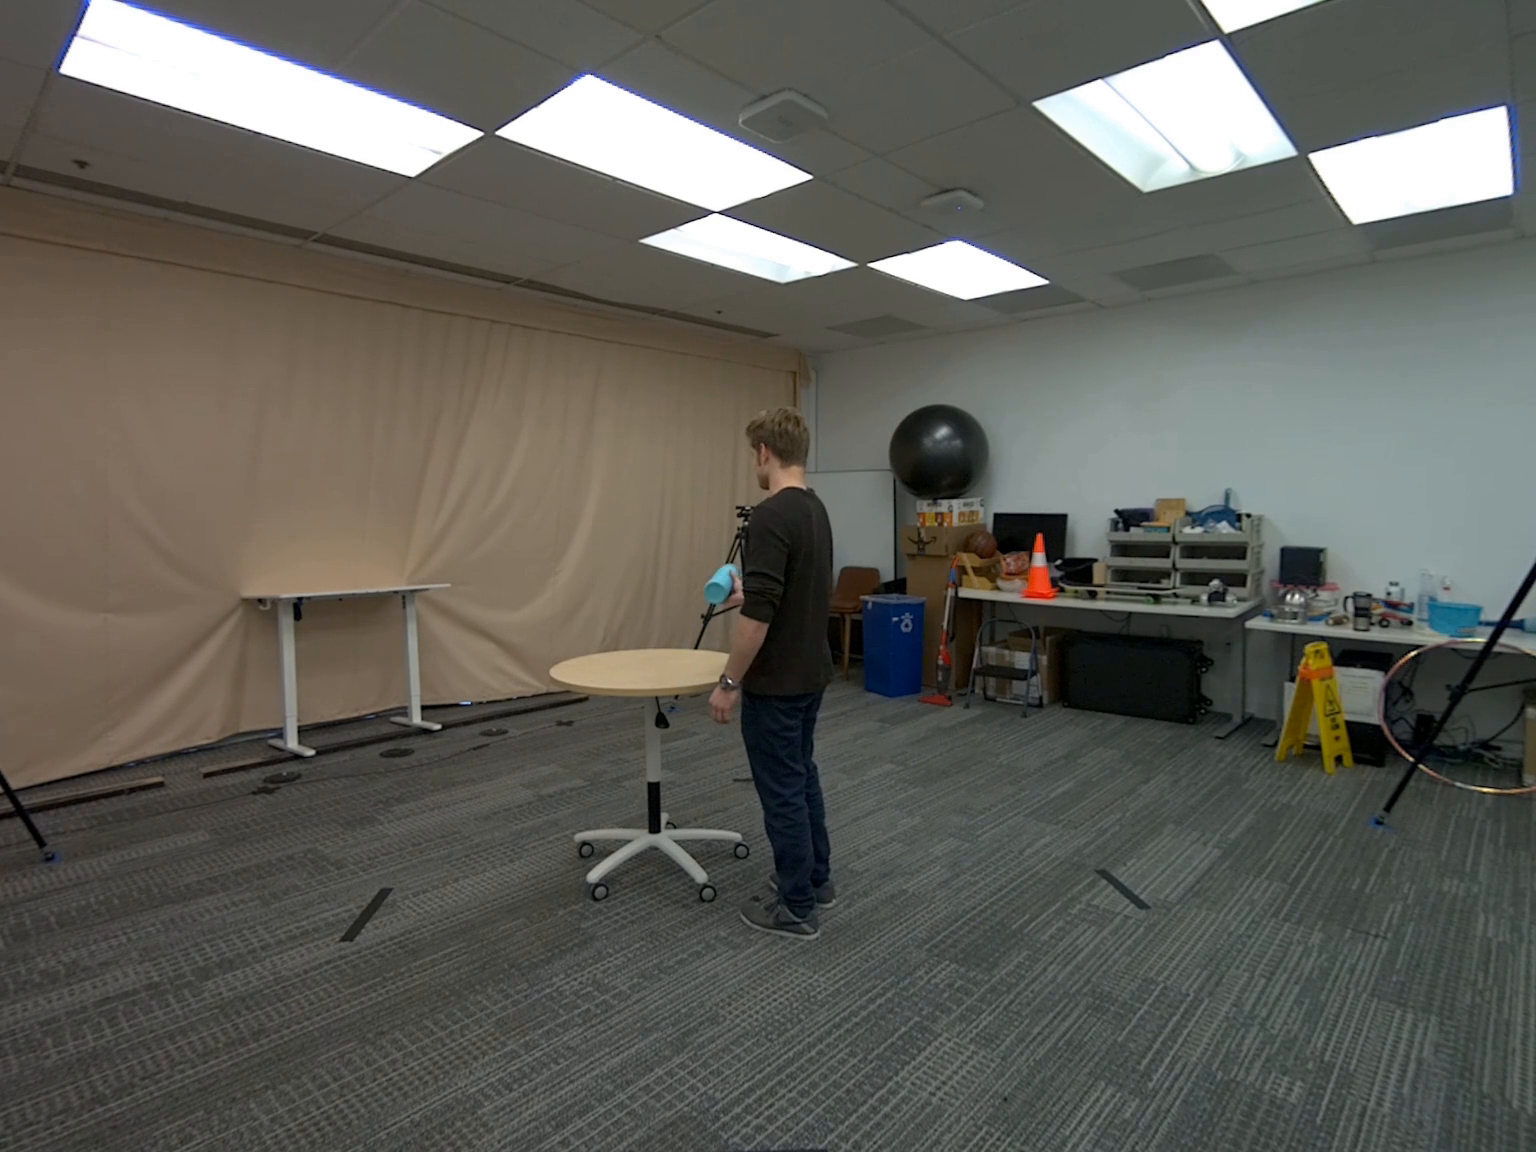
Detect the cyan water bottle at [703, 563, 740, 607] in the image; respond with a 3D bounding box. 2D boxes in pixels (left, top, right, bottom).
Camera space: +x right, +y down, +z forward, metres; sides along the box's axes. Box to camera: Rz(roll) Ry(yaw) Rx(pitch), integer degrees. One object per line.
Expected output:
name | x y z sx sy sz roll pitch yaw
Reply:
cyan water bottle | -0.166 0.030 3.226 0.093 0.091 0.283 0 16 8
